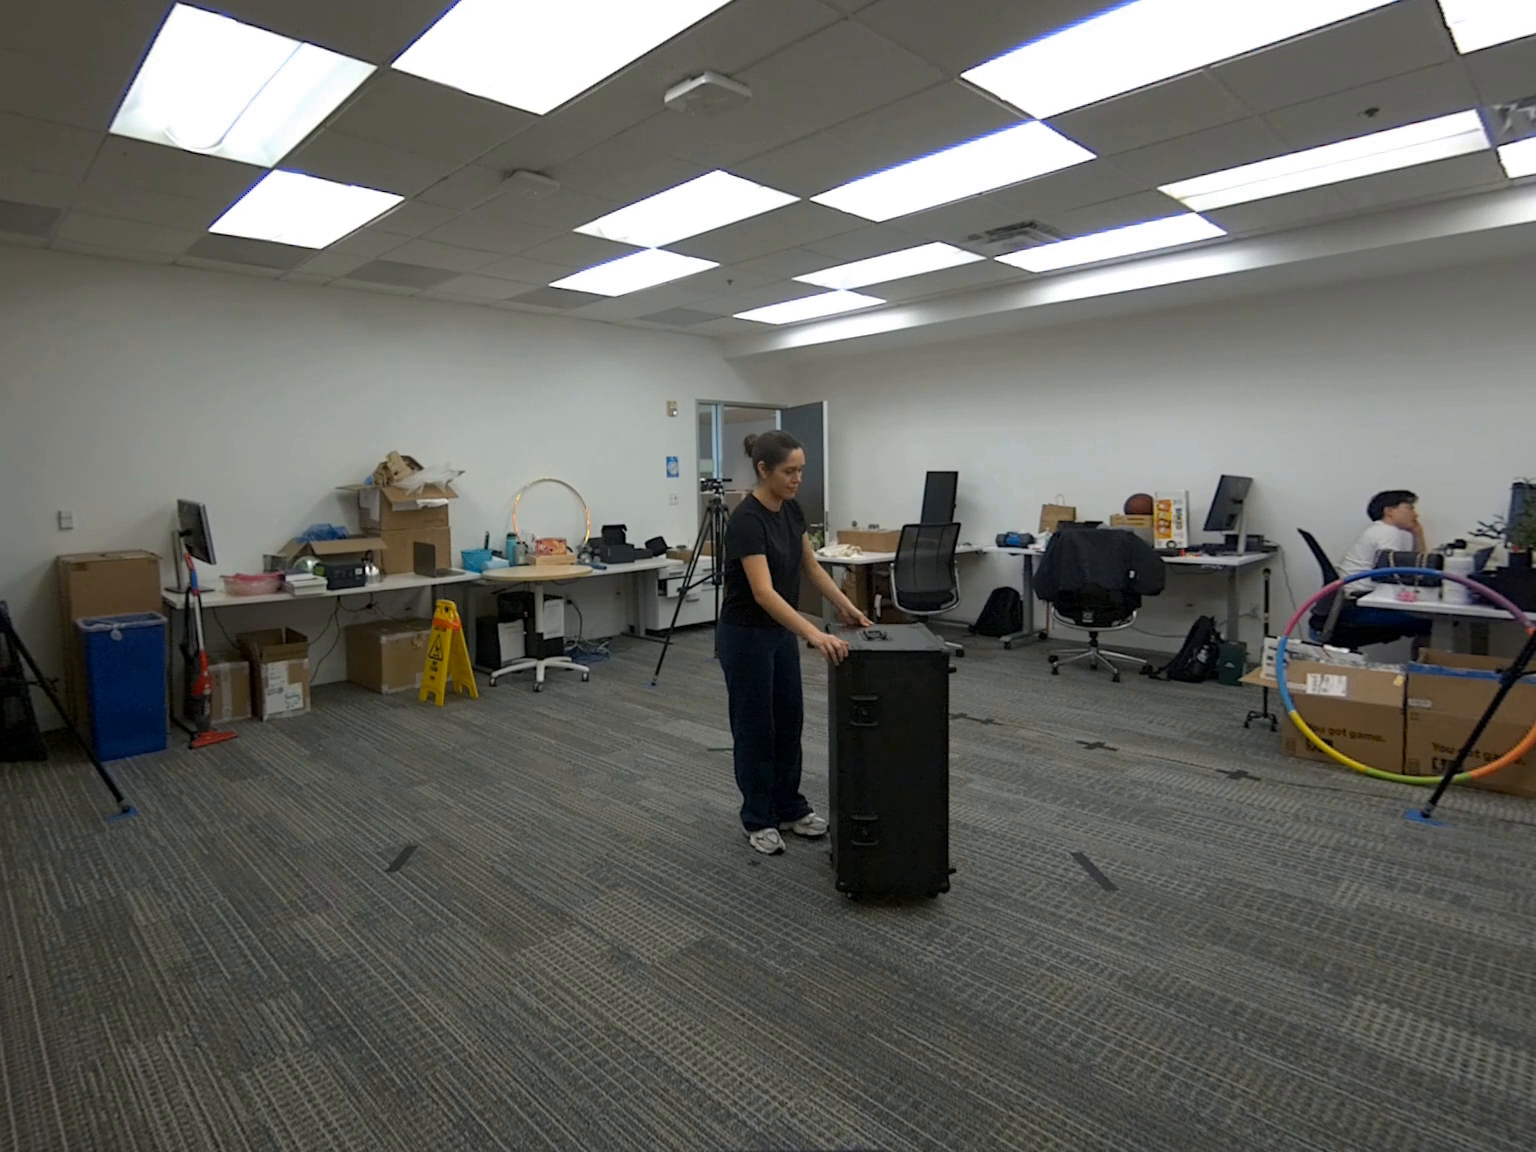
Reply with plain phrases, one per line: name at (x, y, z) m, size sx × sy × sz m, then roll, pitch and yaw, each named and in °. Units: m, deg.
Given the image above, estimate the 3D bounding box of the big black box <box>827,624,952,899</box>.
big black box at (0.404, 0.627, 2.957) m, size 0.397 × 0.859 × 0.522 m, roll -1°, pitch 4°, yaw 1°
